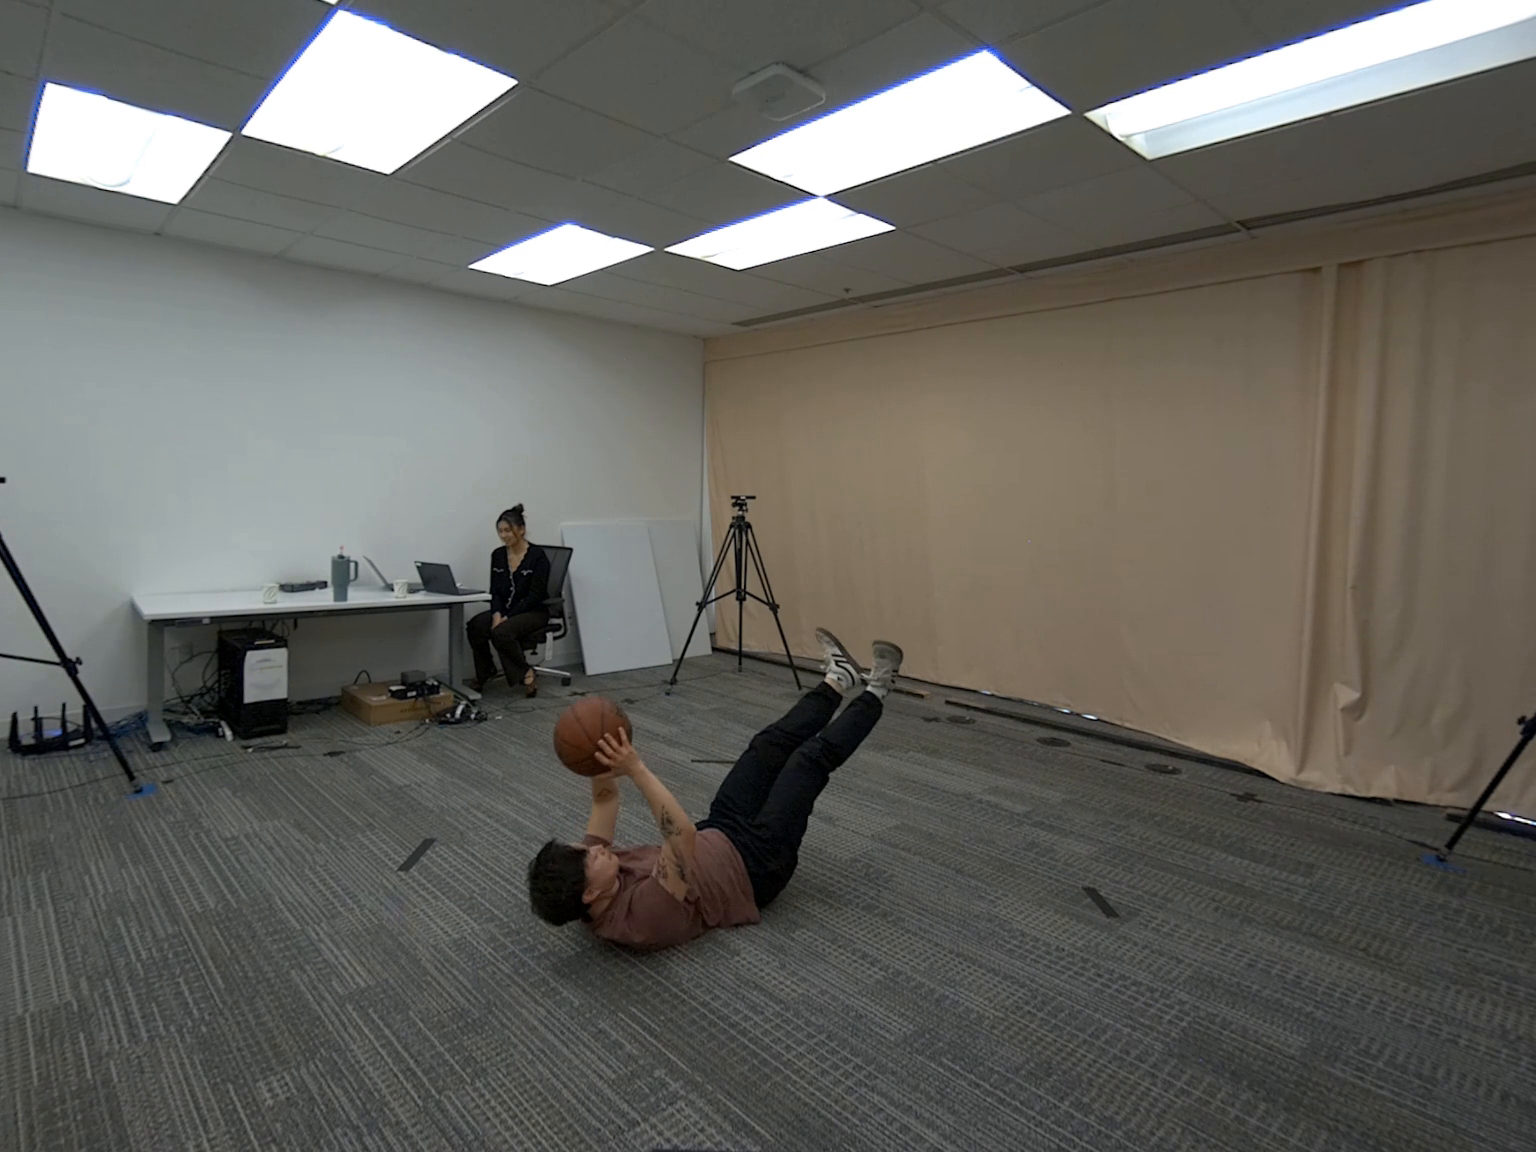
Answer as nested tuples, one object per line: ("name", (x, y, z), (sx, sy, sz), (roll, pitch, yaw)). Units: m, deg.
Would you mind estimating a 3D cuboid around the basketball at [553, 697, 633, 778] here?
("basketball", (-0.546, 0.492, 2.537), (0.236, 0.235, 0.237), (2, 4, -2))
